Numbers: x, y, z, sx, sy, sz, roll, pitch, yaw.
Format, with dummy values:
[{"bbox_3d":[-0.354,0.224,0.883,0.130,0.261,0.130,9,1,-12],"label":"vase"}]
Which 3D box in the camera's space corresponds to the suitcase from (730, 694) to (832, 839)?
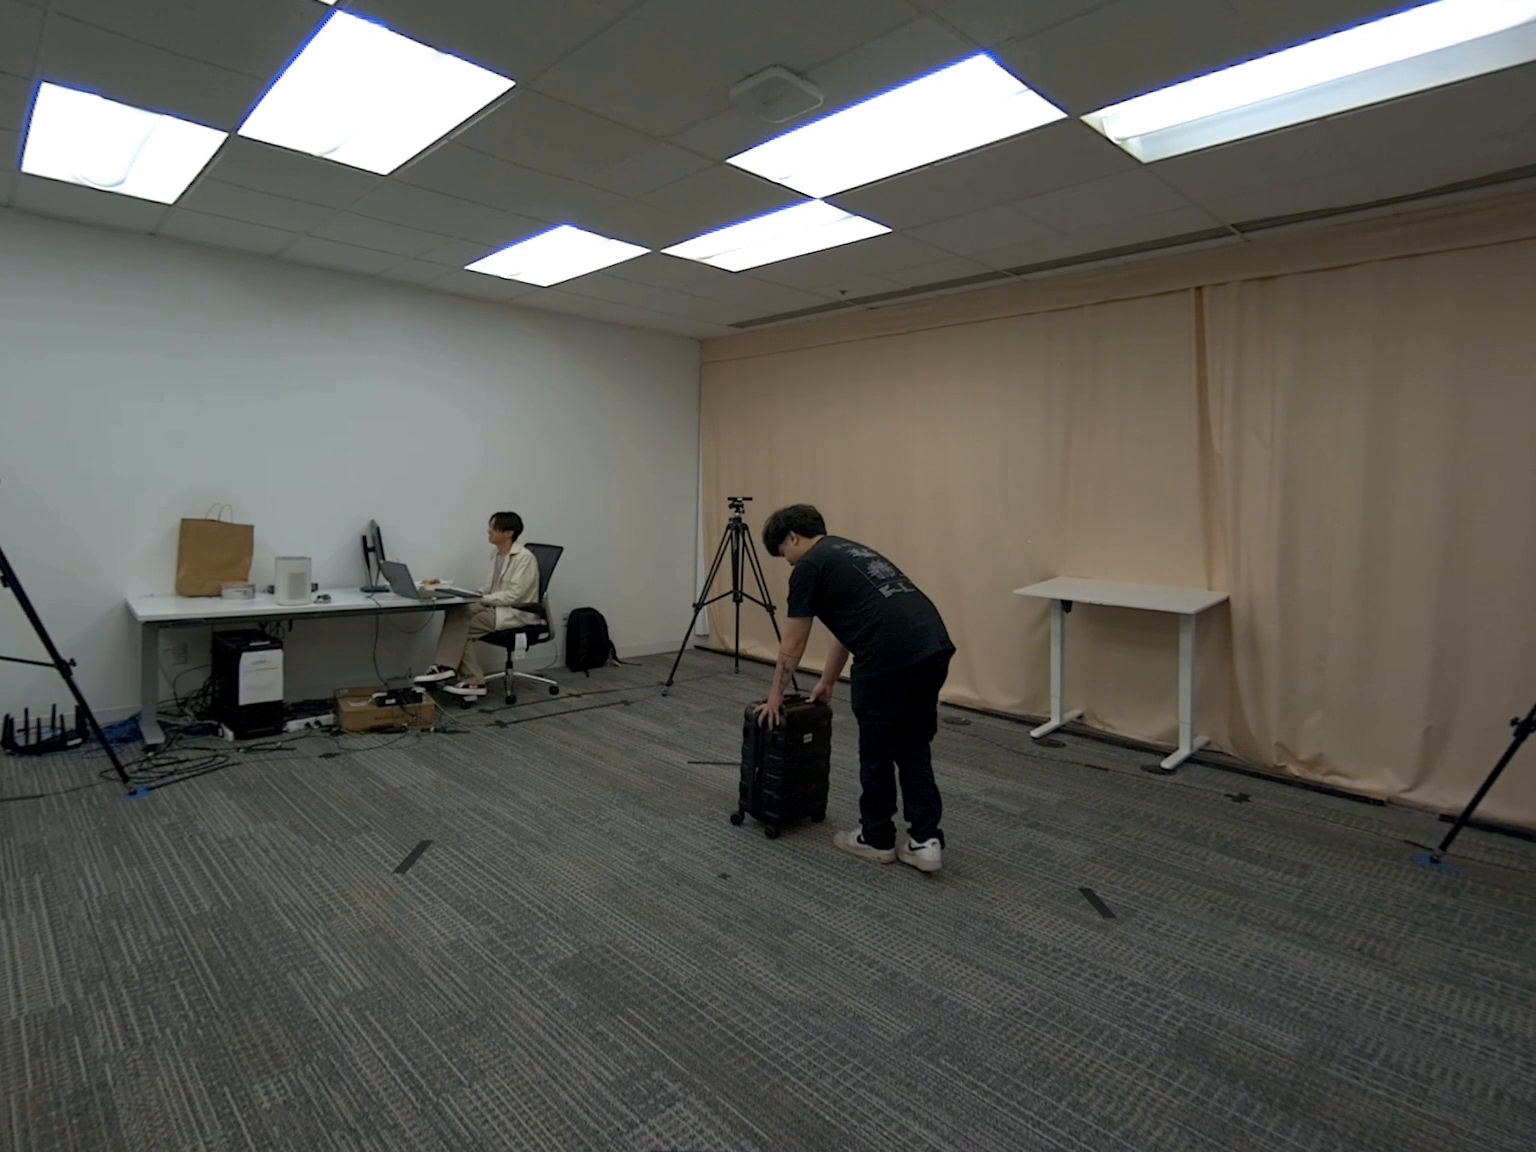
[{"bbox_3d":[0.068,0.796,3.620,0.255,0.548,0.366,8,6,44],"label":"suitcase"}]
